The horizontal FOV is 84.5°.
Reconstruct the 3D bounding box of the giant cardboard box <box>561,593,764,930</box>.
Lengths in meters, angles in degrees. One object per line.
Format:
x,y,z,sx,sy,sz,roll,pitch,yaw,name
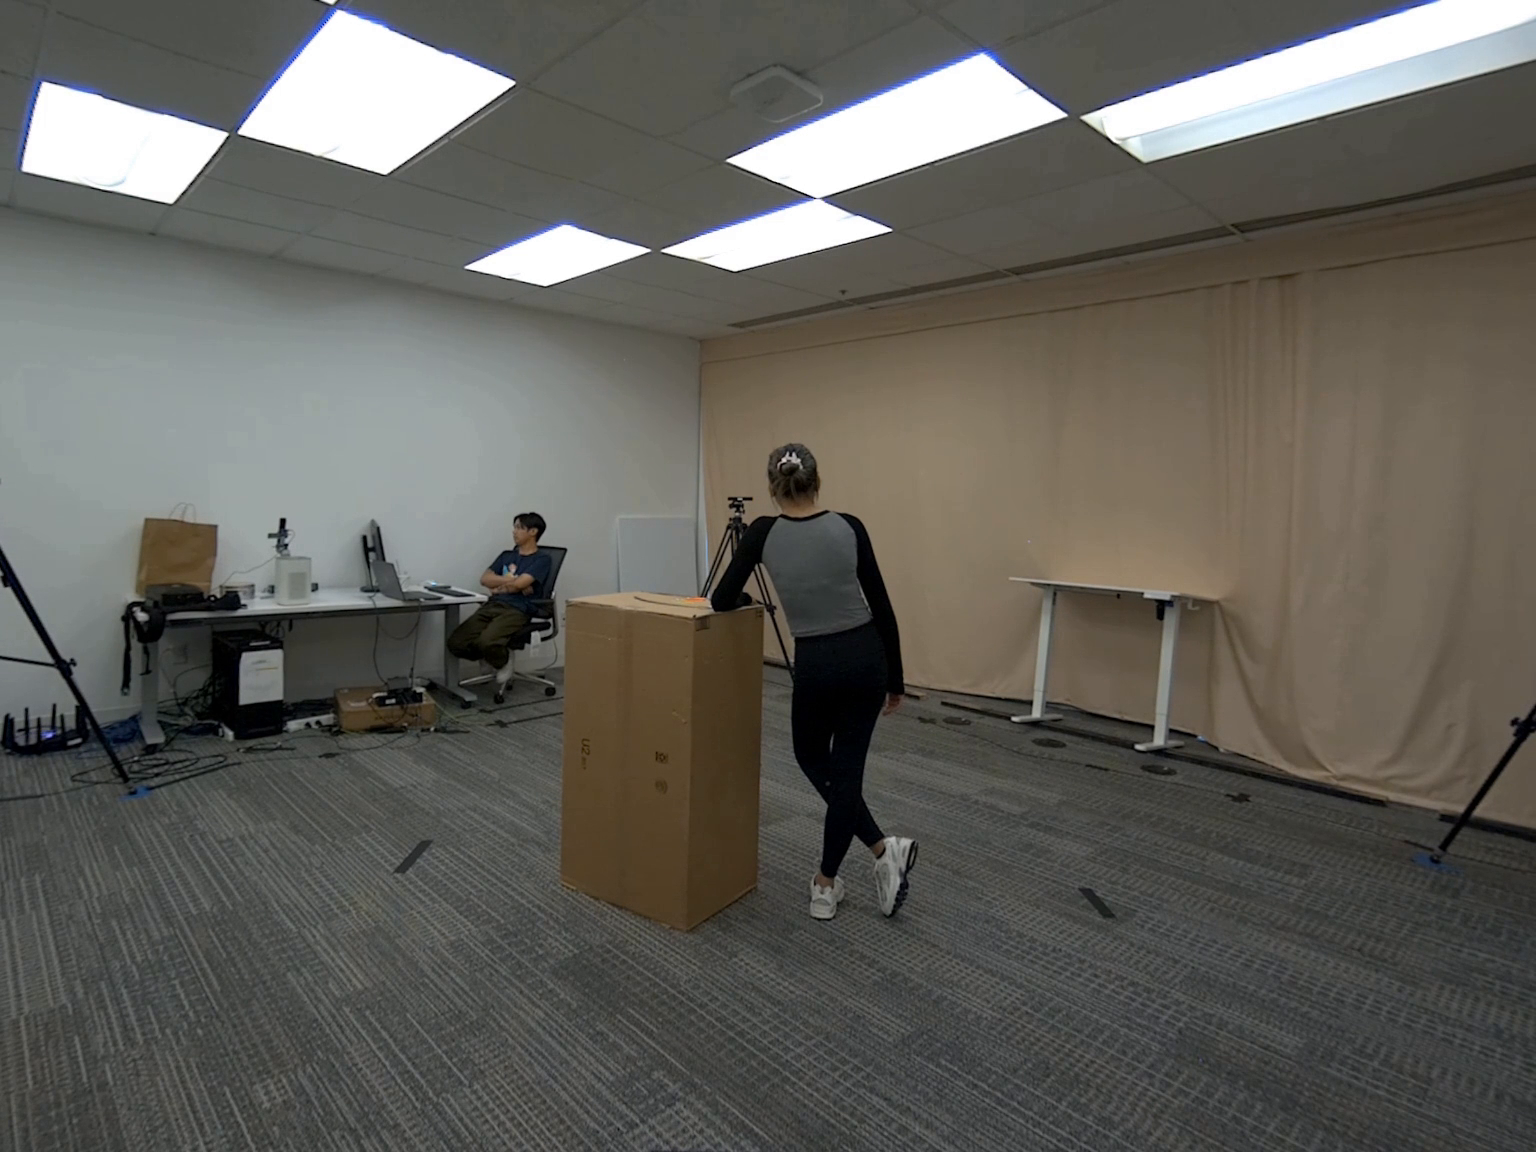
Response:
-0.384,0.603,2.999,0.591,1.023,0.417,4,4,34,giant cardboard box
